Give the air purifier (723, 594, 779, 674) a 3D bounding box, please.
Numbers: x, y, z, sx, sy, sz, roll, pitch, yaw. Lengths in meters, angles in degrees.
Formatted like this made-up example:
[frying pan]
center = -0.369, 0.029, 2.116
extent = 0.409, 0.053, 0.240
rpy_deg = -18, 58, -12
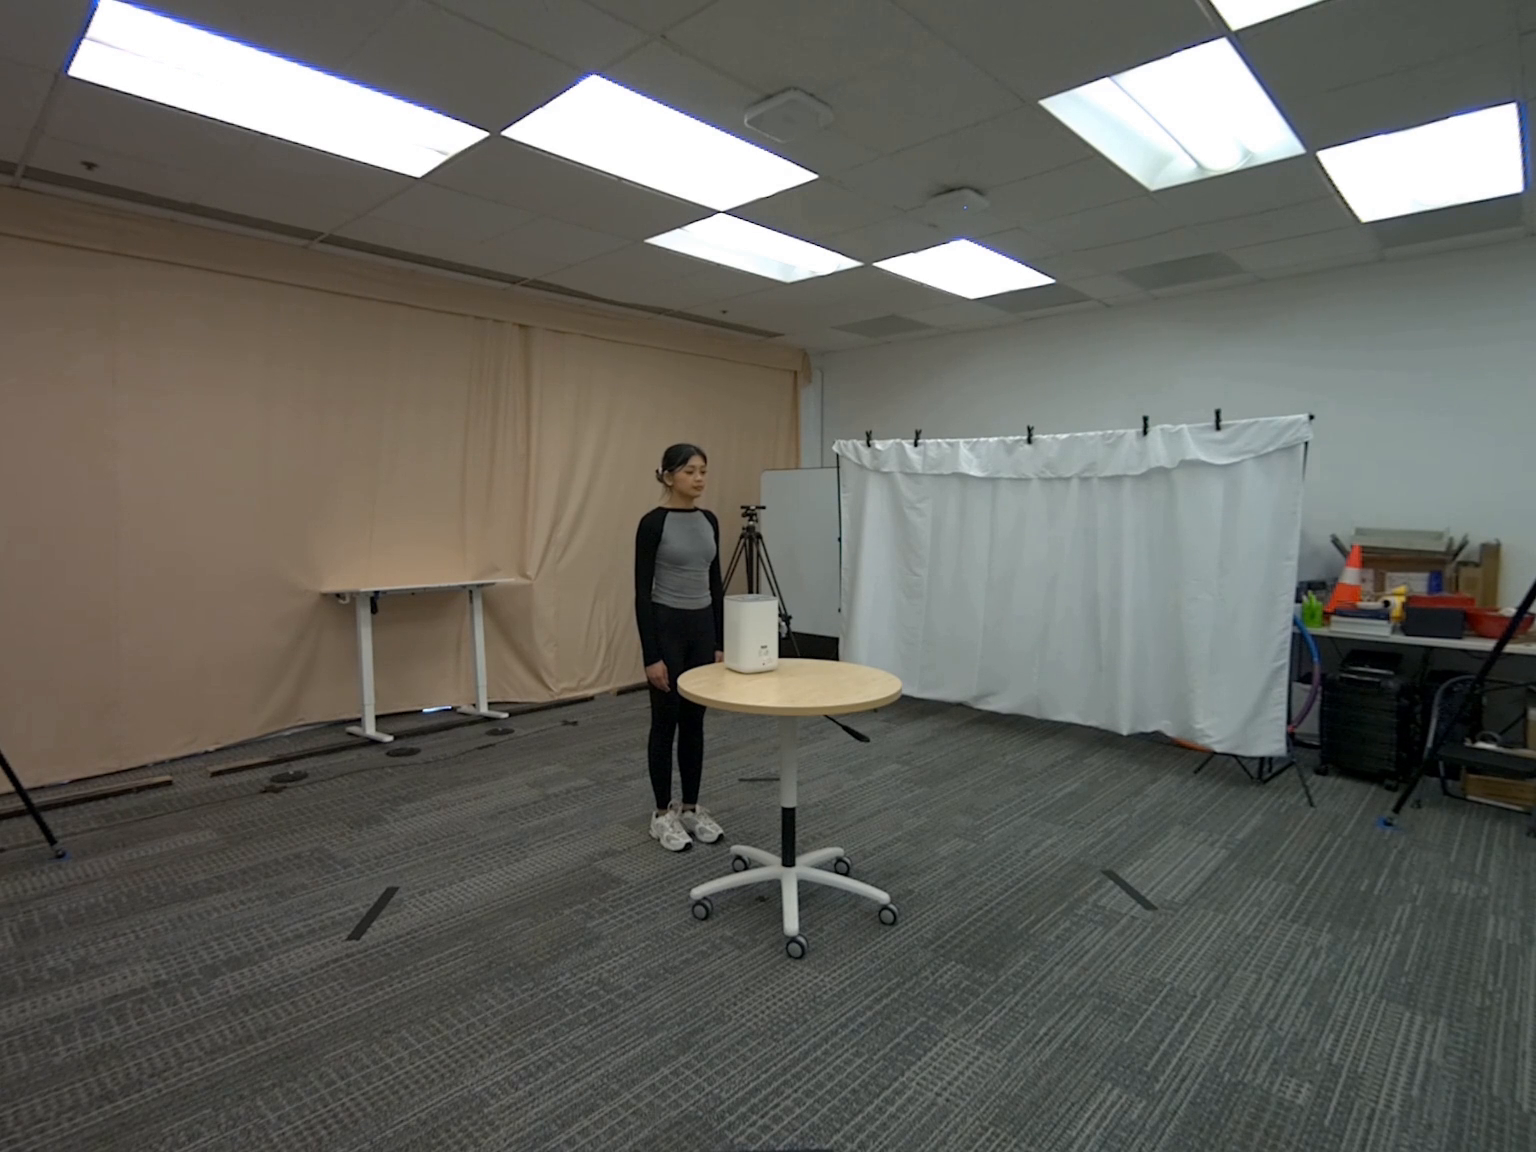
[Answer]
[air purifier]
center = -0.058, 0.205, 3.062
extent = 0.167, 0.265, 0.176
rpy_deg = -4, 5, -32
